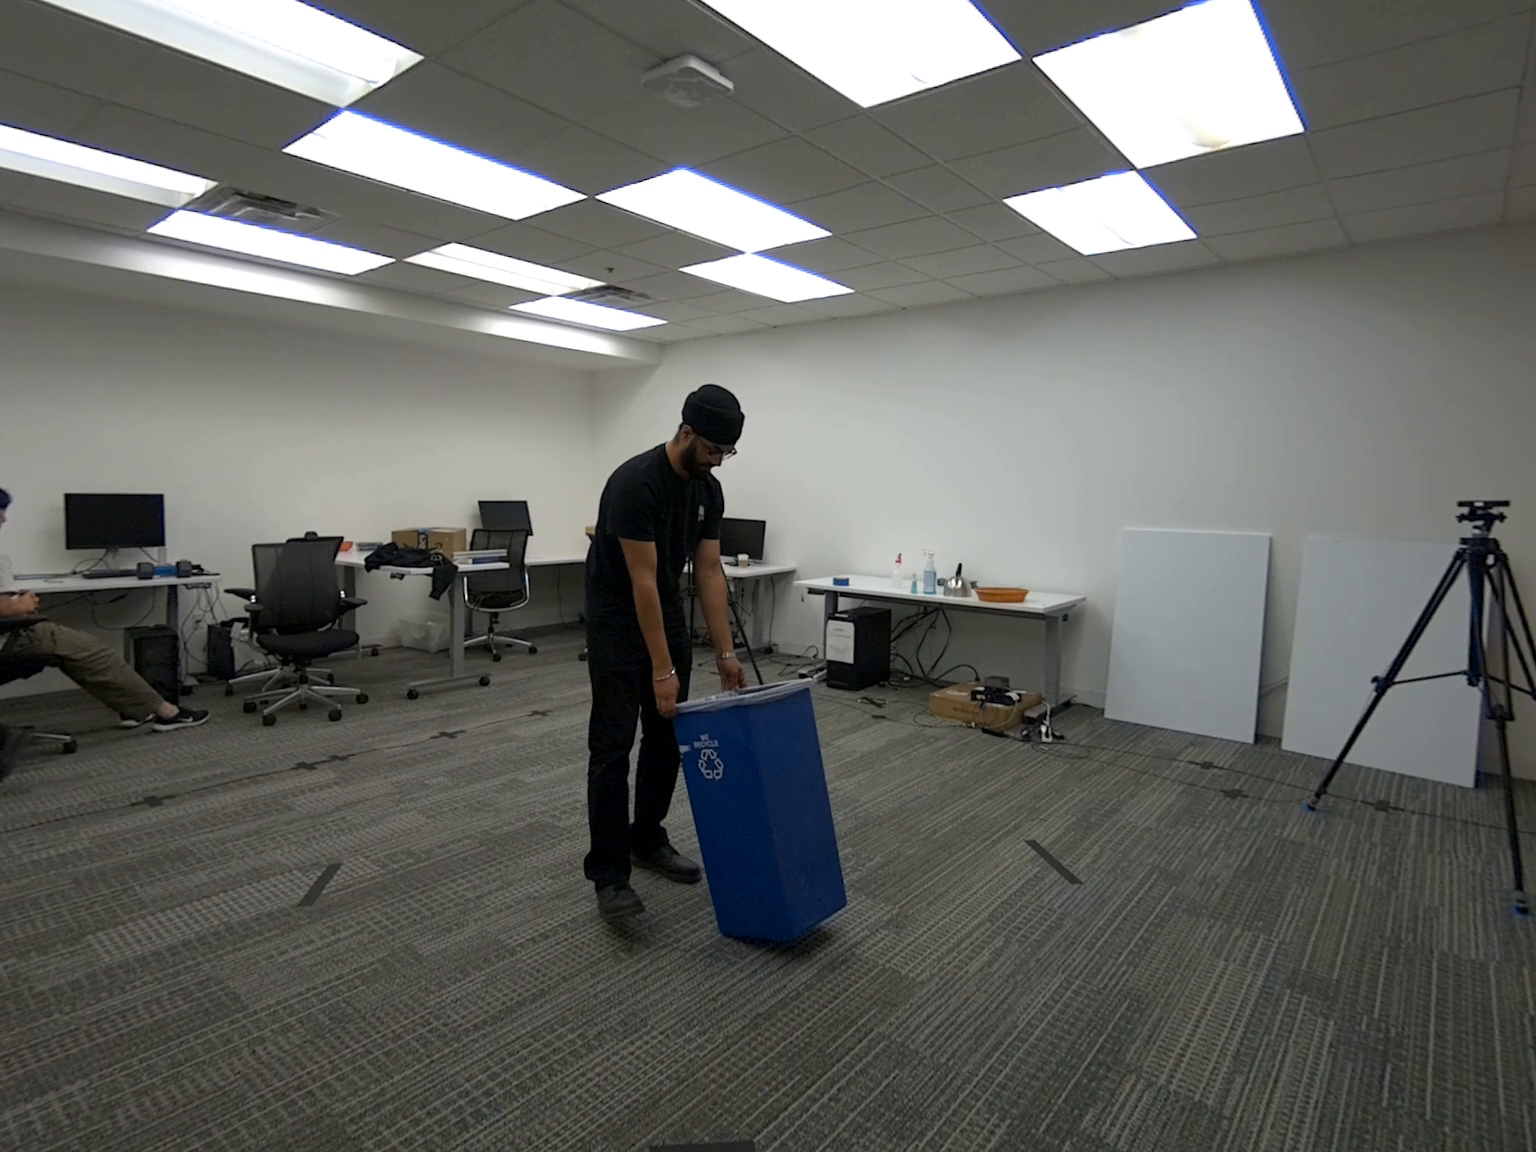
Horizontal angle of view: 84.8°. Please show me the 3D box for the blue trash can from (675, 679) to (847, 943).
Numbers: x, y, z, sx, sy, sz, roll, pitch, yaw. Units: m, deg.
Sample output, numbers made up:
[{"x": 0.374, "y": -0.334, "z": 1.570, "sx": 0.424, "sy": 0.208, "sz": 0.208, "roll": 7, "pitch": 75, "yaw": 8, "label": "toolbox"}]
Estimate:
[{"x": -0.040, "y": 0.730, "z": 2.727, "sx": 0.382, "sy": 0.720, "sz": 0.366, "roll": -16, "pitch": -9, "yaw": 39, "label": "blue trash can"}]
